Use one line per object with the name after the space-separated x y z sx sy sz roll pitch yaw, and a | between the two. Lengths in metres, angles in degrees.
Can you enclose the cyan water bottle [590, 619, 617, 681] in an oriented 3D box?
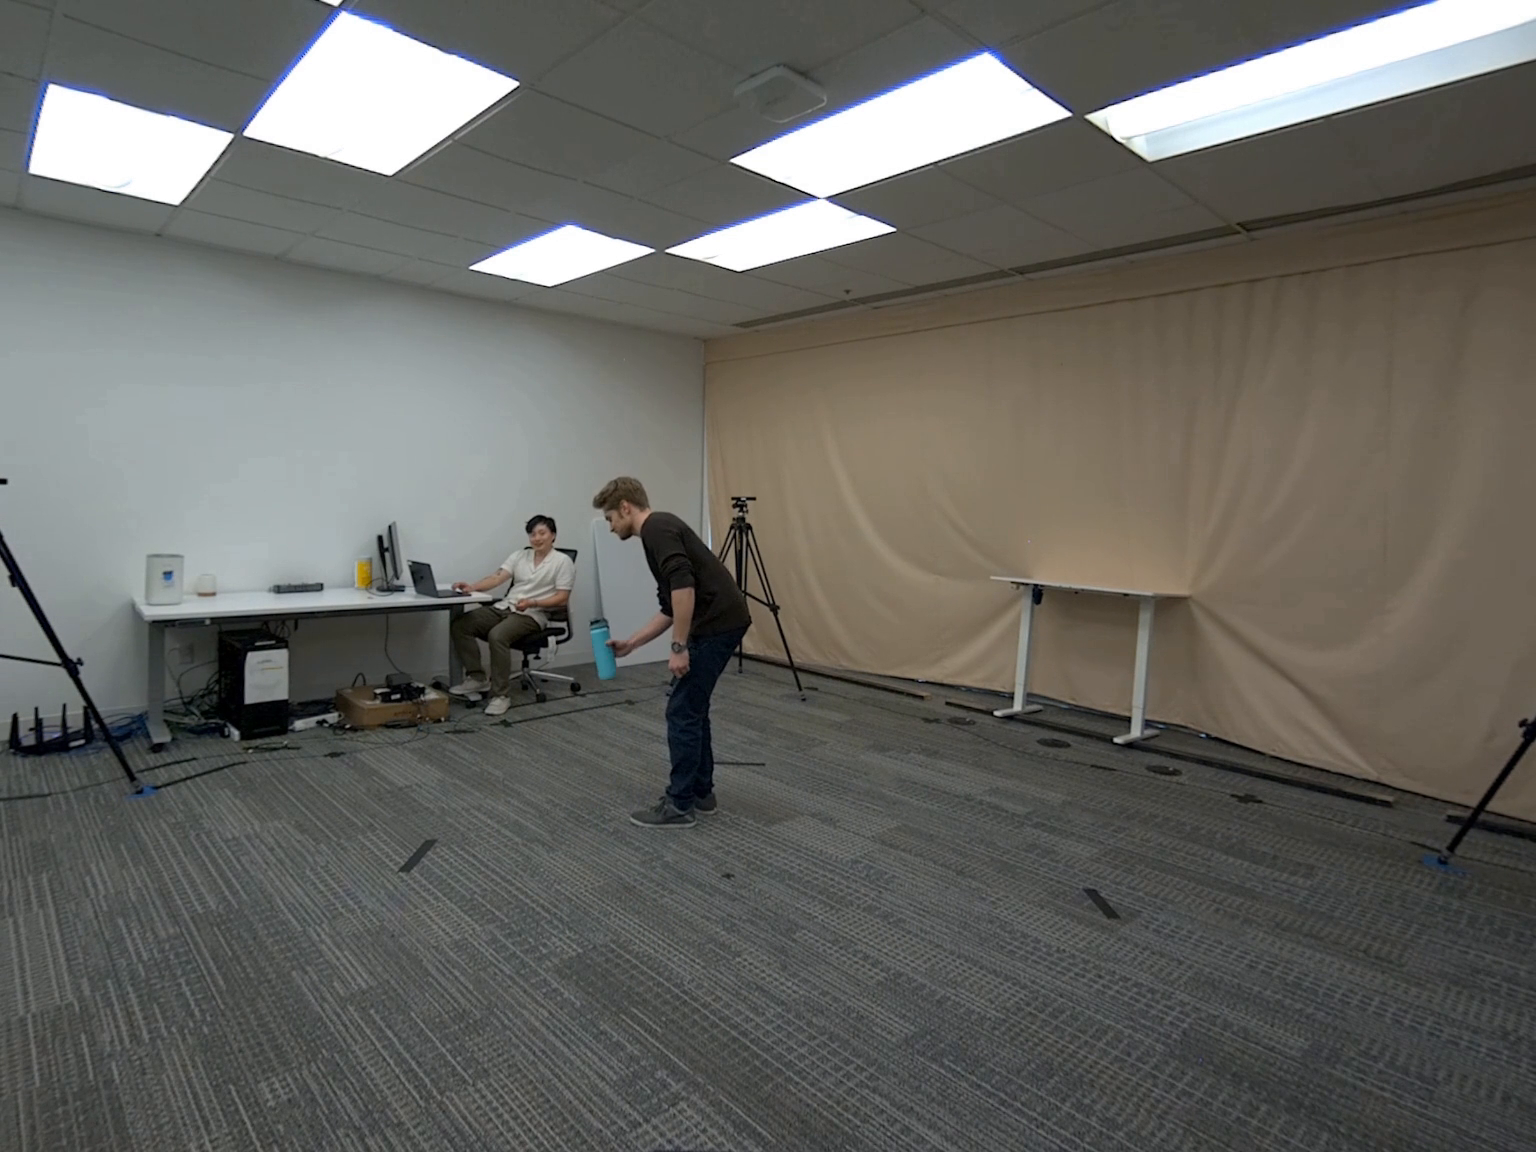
-0.761 0.324 3.859 0.092 0.284 0.092 -12 -3 -2 | cyan water bottle
